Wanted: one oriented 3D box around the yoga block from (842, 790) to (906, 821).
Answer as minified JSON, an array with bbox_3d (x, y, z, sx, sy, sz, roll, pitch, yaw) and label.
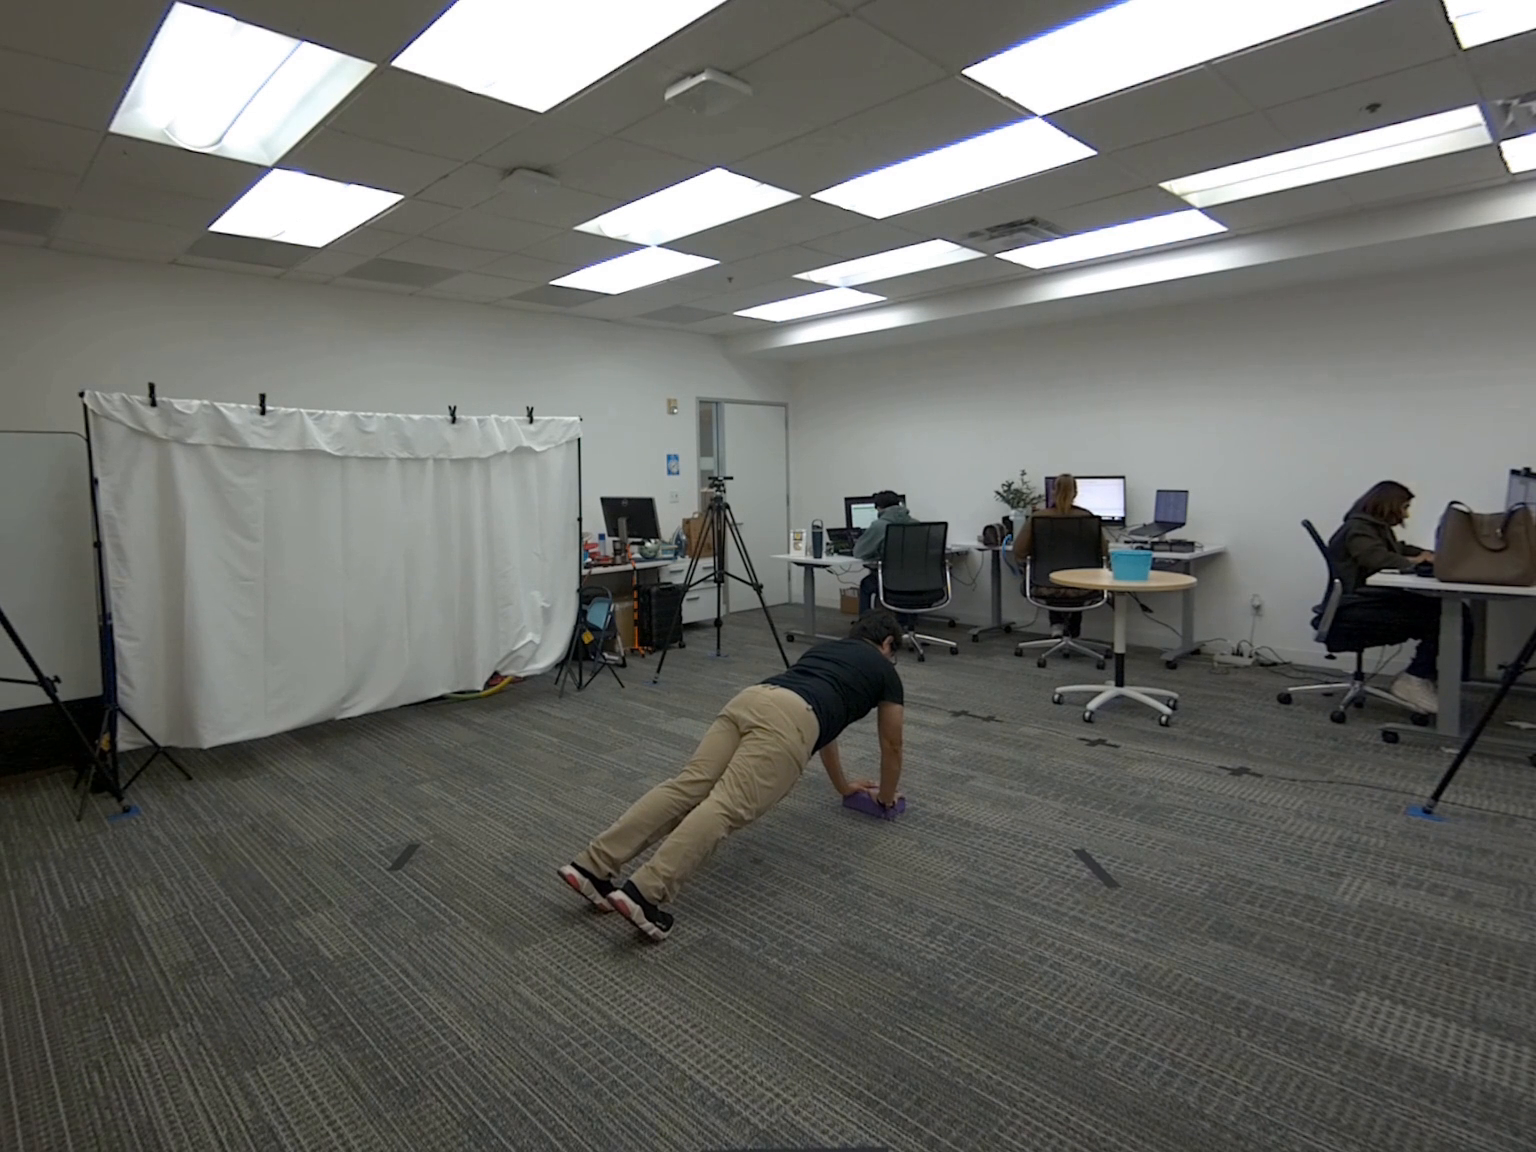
[{"bbox_3d":[0.446,0.936,3.584,0.236,0.076,0.145,5,6,43],"label":"yoga block"}]
